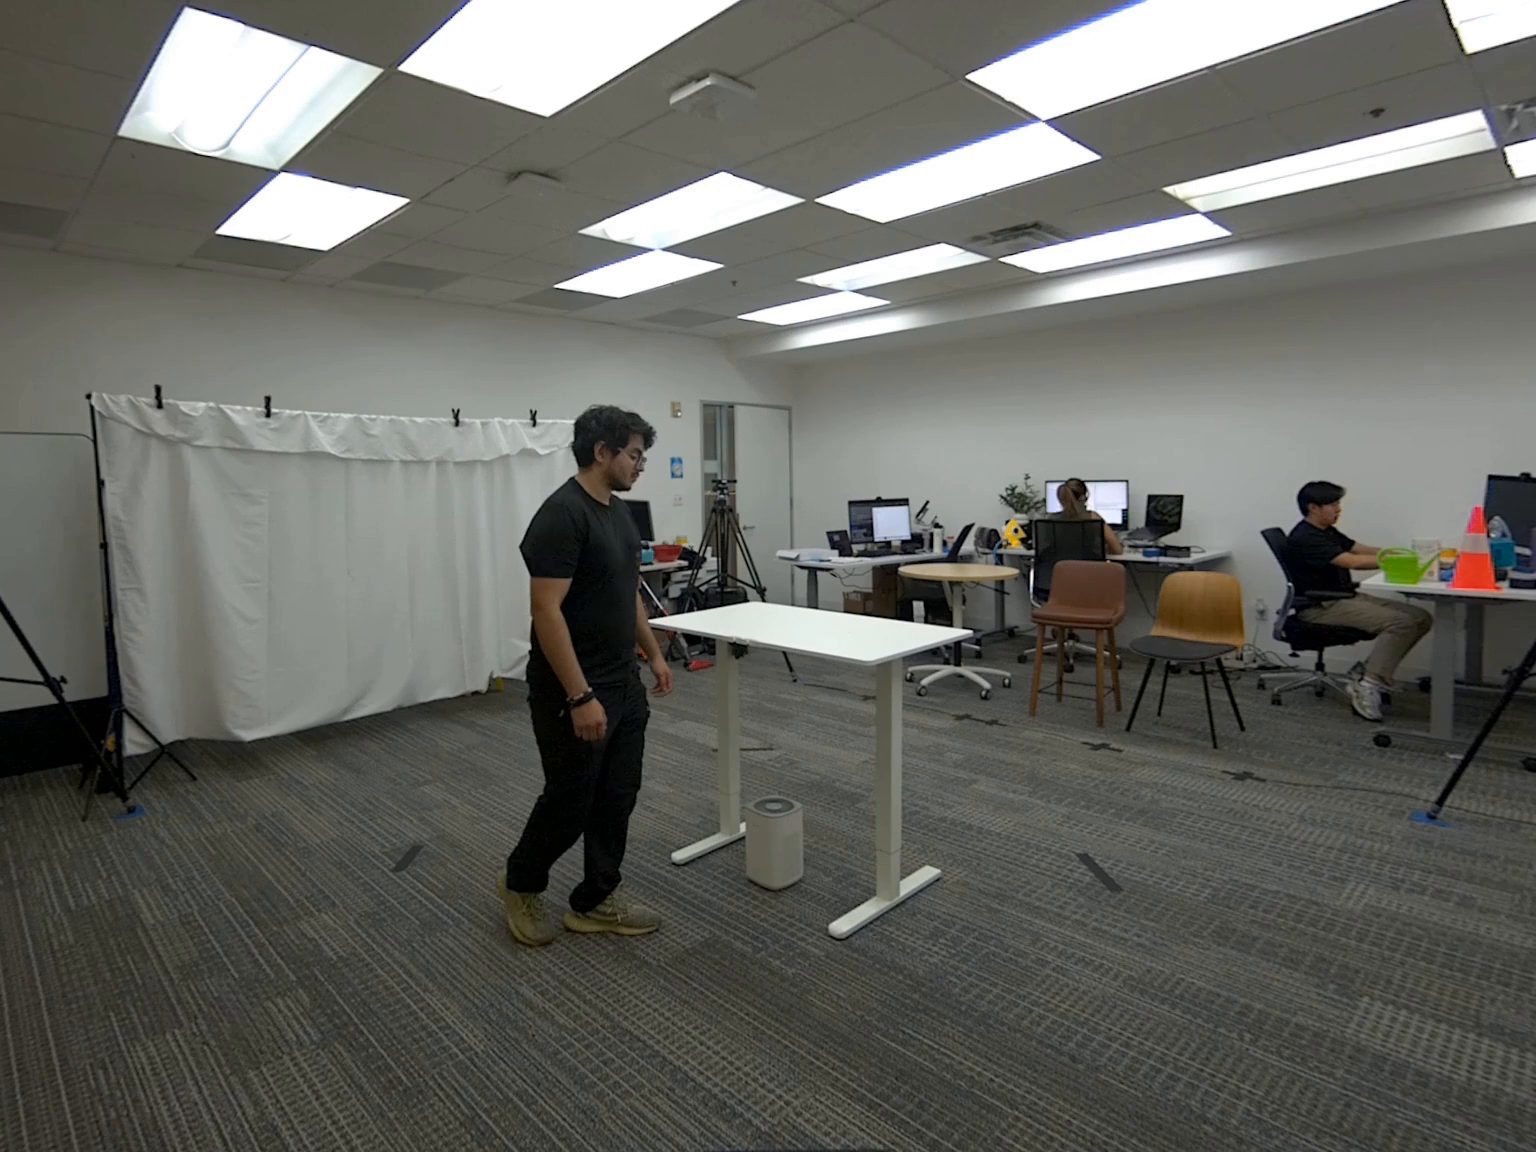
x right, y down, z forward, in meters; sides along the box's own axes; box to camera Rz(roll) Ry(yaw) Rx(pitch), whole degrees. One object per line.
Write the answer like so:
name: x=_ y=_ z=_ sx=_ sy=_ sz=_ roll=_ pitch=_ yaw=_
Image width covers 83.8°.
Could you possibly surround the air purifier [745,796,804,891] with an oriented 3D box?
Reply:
air purifier: x=0.023 y=0.924 z=2.976 sx=0.176 sy=0.264 sz=0.167 roll=3 pitch=5 yaw=44
